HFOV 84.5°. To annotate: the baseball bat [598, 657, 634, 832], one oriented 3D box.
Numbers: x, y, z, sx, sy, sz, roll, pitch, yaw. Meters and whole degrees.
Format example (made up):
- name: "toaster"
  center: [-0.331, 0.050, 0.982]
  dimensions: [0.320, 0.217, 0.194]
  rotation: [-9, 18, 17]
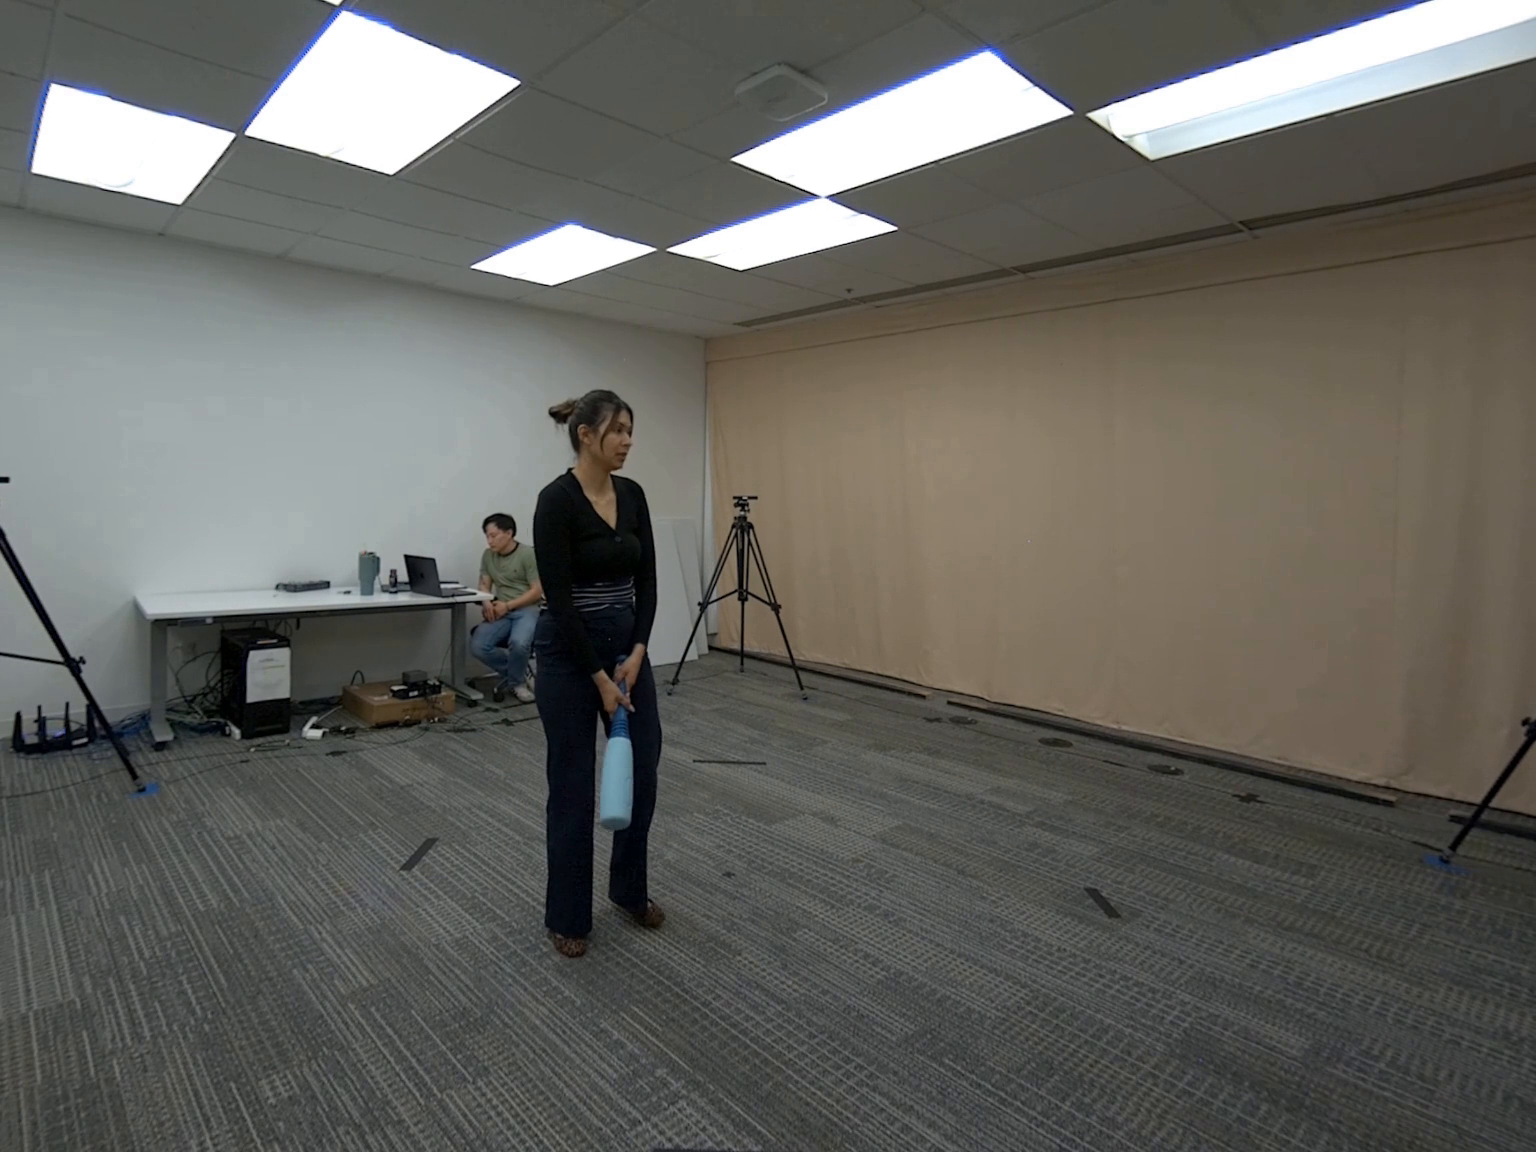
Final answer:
- name: "baseball bat"
  center: [-0.440, 0.475, 2.440]
  dimensions: [0.089, 0.087, 0.555]
  rotation: [1, 48, -1]
